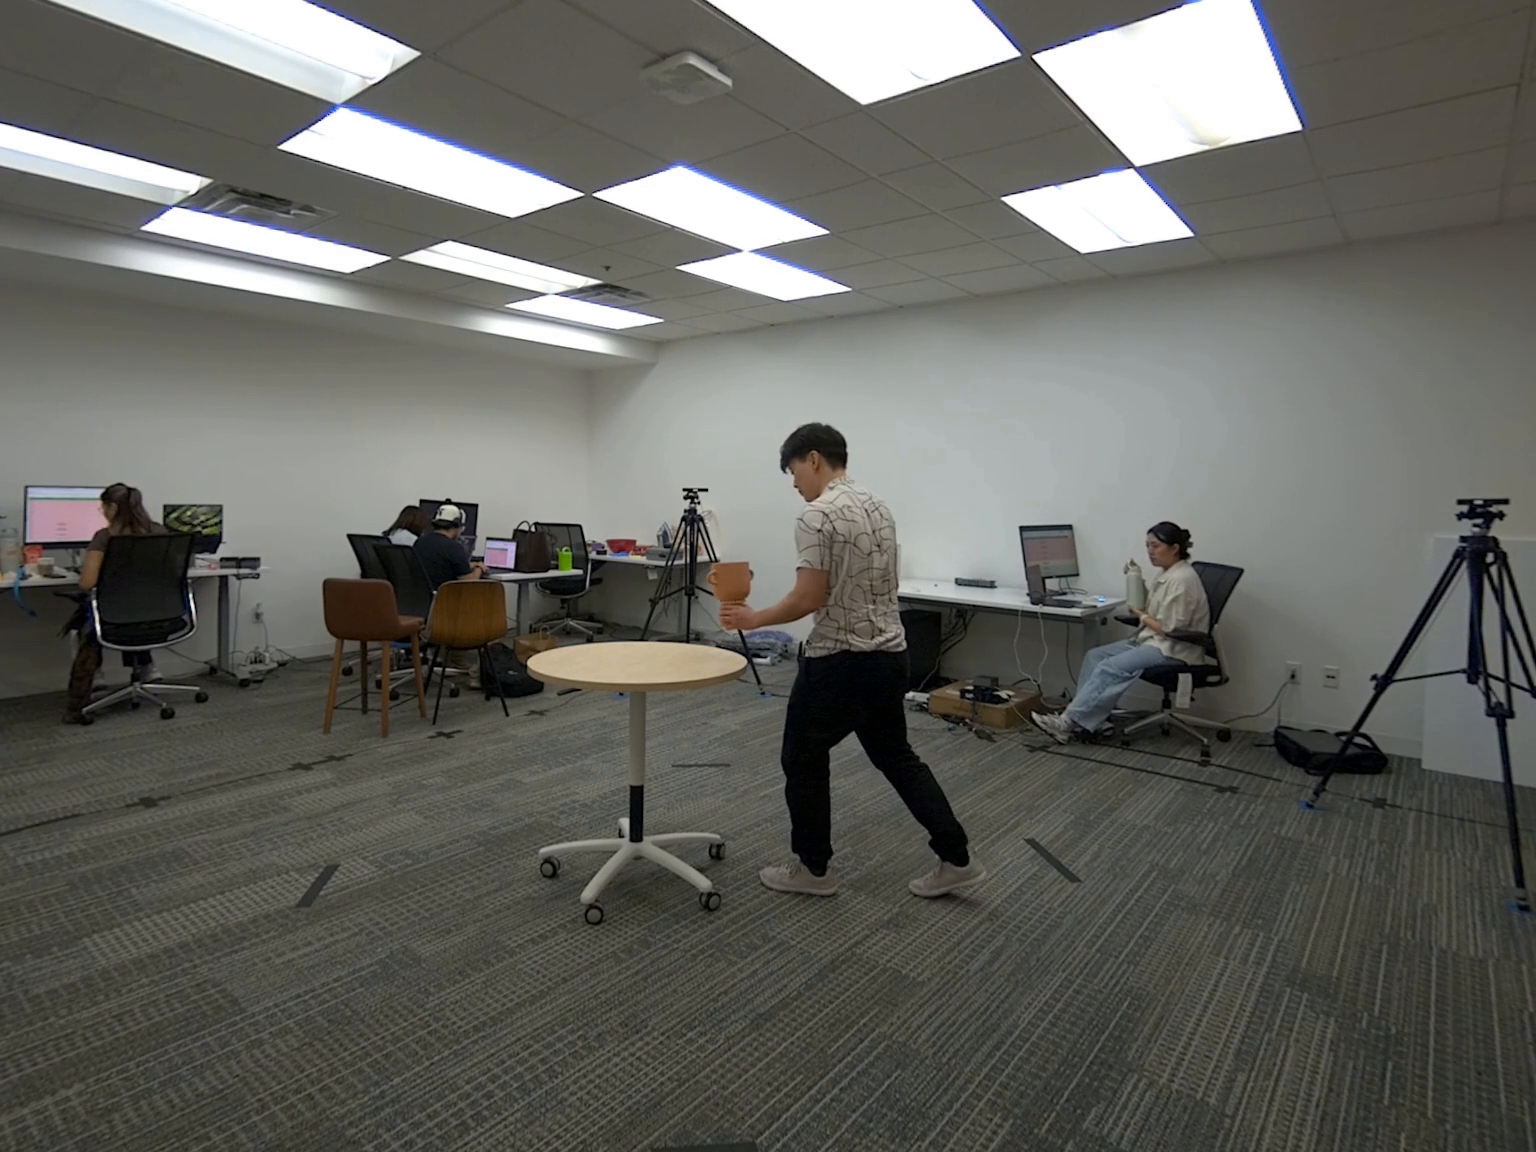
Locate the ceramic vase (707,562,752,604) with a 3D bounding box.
[{"bbox_3d":[-0.130,0.064,2.990,0.159,0.220,0.134,-3,0,1],"label":"ceramic vase"}]
